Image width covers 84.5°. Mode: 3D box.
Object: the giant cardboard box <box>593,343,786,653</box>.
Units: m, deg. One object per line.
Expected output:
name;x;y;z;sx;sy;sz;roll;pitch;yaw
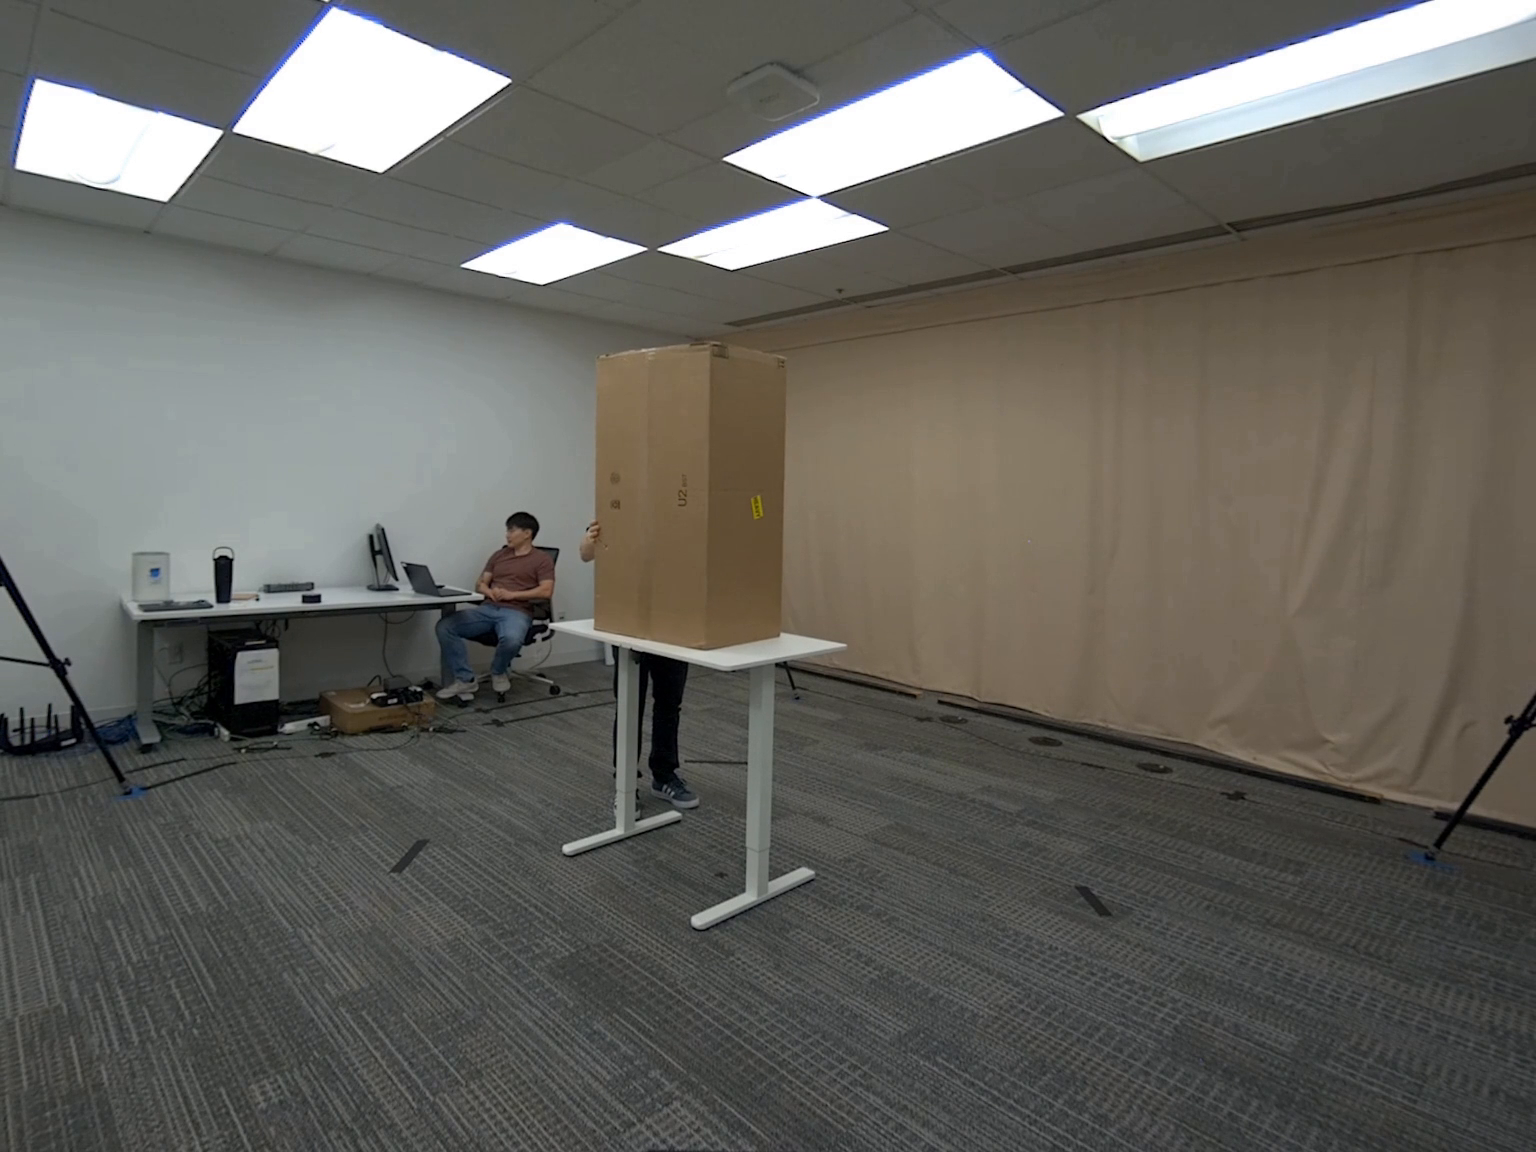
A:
giant cardboard box;-0.298;-0.290;3.112;0.592;1.023;0.417;4;5;40
